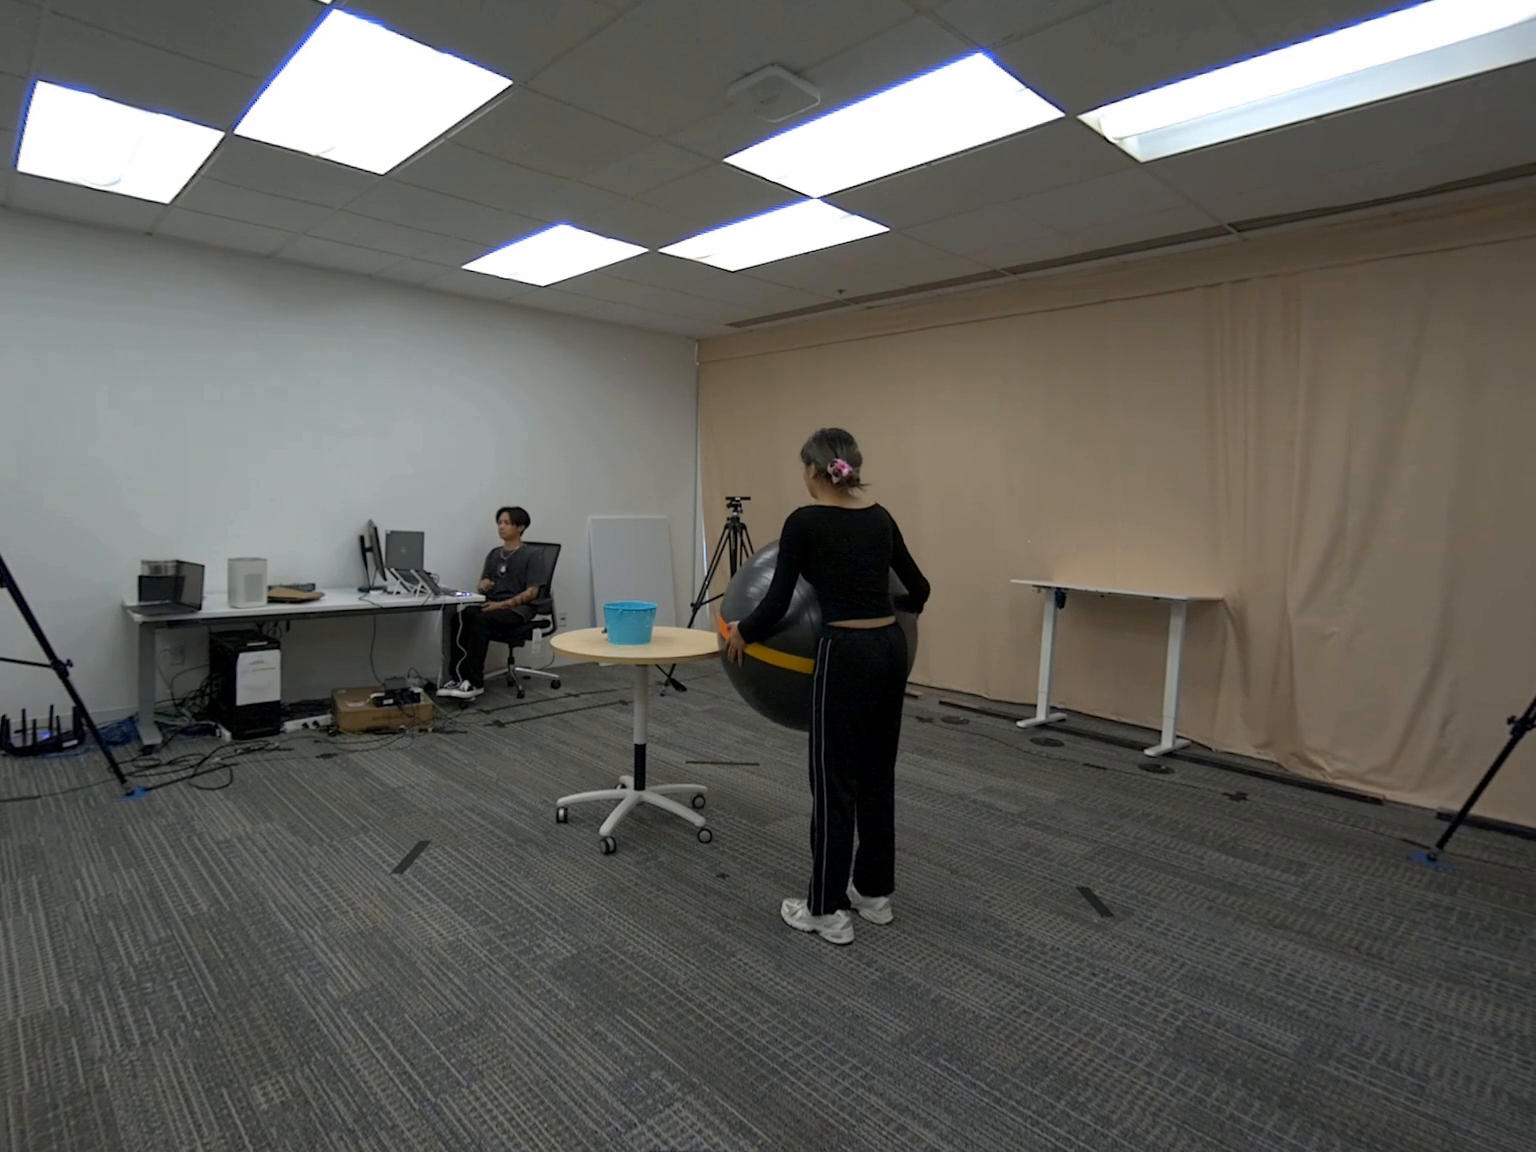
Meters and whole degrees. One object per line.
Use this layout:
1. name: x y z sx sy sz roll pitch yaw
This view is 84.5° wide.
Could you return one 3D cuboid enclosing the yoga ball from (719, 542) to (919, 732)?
1. yoga ball: 0.177 0.210 3.210 0.757 0.756 0.761 1 4 -1
